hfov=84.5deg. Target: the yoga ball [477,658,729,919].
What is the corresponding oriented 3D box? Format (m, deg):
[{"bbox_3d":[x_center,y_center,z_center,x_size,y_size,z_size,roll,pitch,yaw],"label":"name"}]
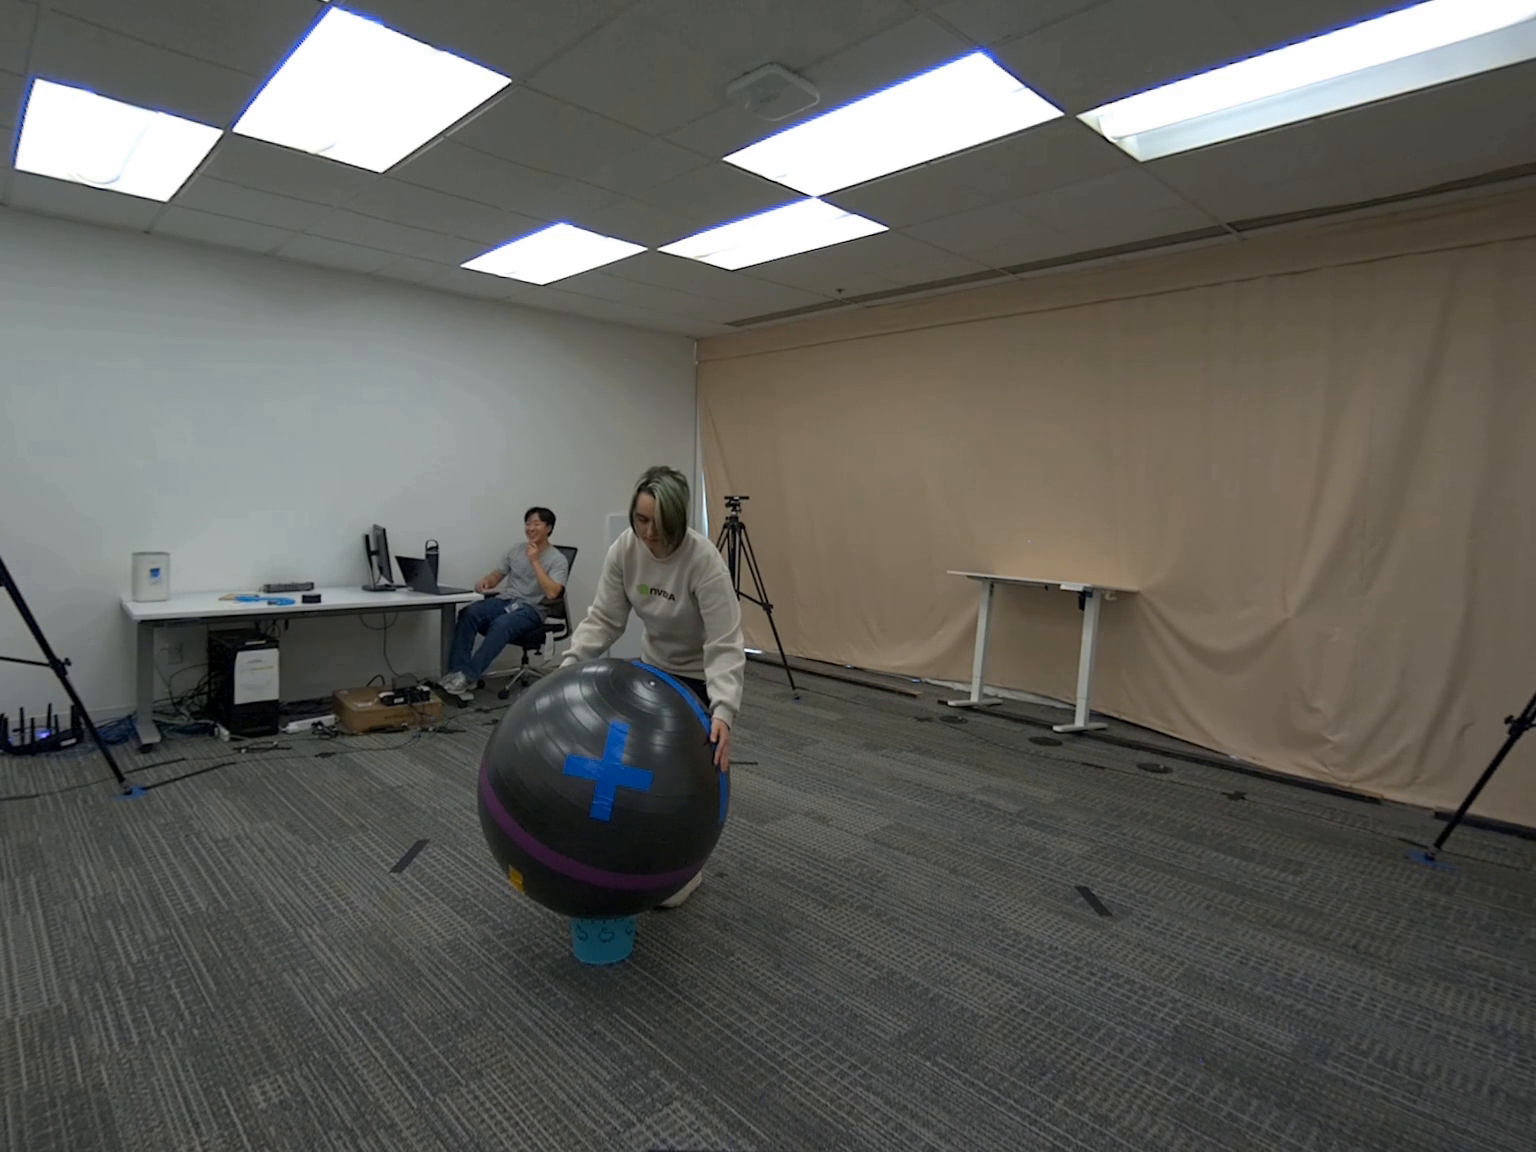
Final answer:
[{"bbox_3d":[-0.499,0.643,2.548,0.757,0.756,0.761,1,4,-1],"label":"yoga ball"}]
